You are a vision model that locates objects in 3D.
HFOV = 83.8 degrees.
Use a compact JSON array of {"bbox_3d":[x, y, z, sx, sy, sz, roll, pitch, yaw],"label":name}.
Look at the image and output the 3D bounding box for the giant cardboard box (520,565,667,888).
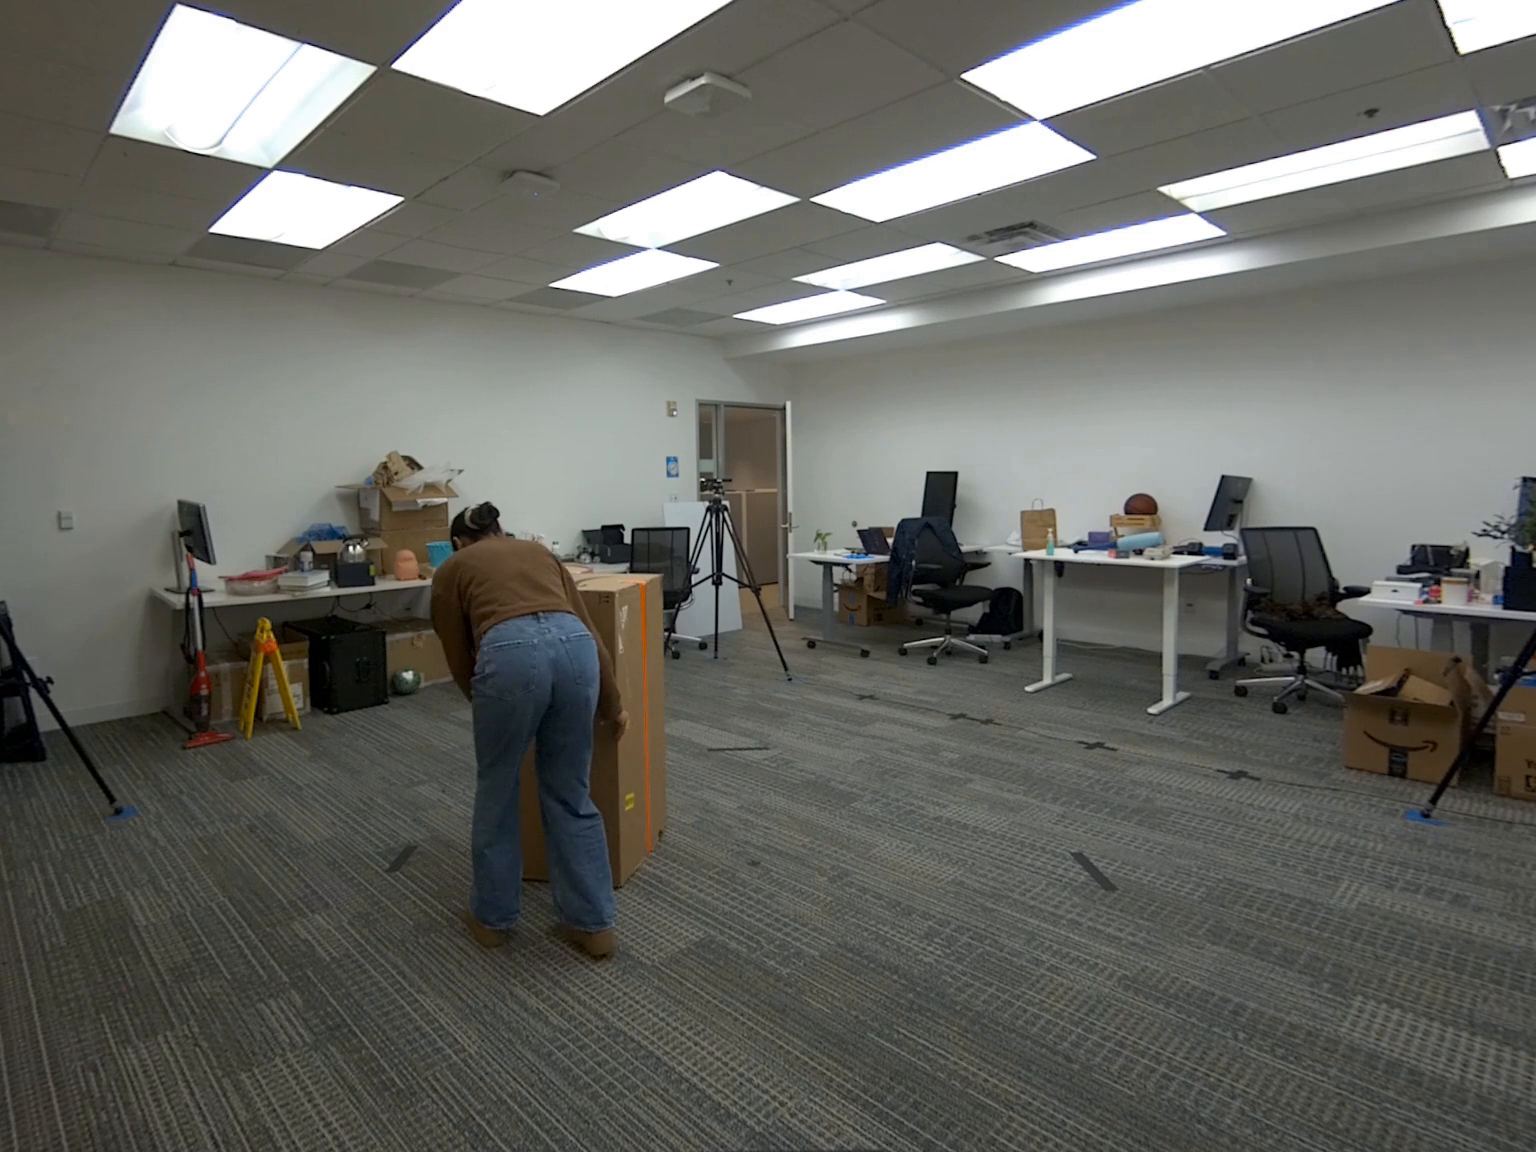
[{"bbox_3d":[-0.663,0.533,3.218,0.431,1.023,0.573,0,3,11],"label":"giant cardboard box"}]
